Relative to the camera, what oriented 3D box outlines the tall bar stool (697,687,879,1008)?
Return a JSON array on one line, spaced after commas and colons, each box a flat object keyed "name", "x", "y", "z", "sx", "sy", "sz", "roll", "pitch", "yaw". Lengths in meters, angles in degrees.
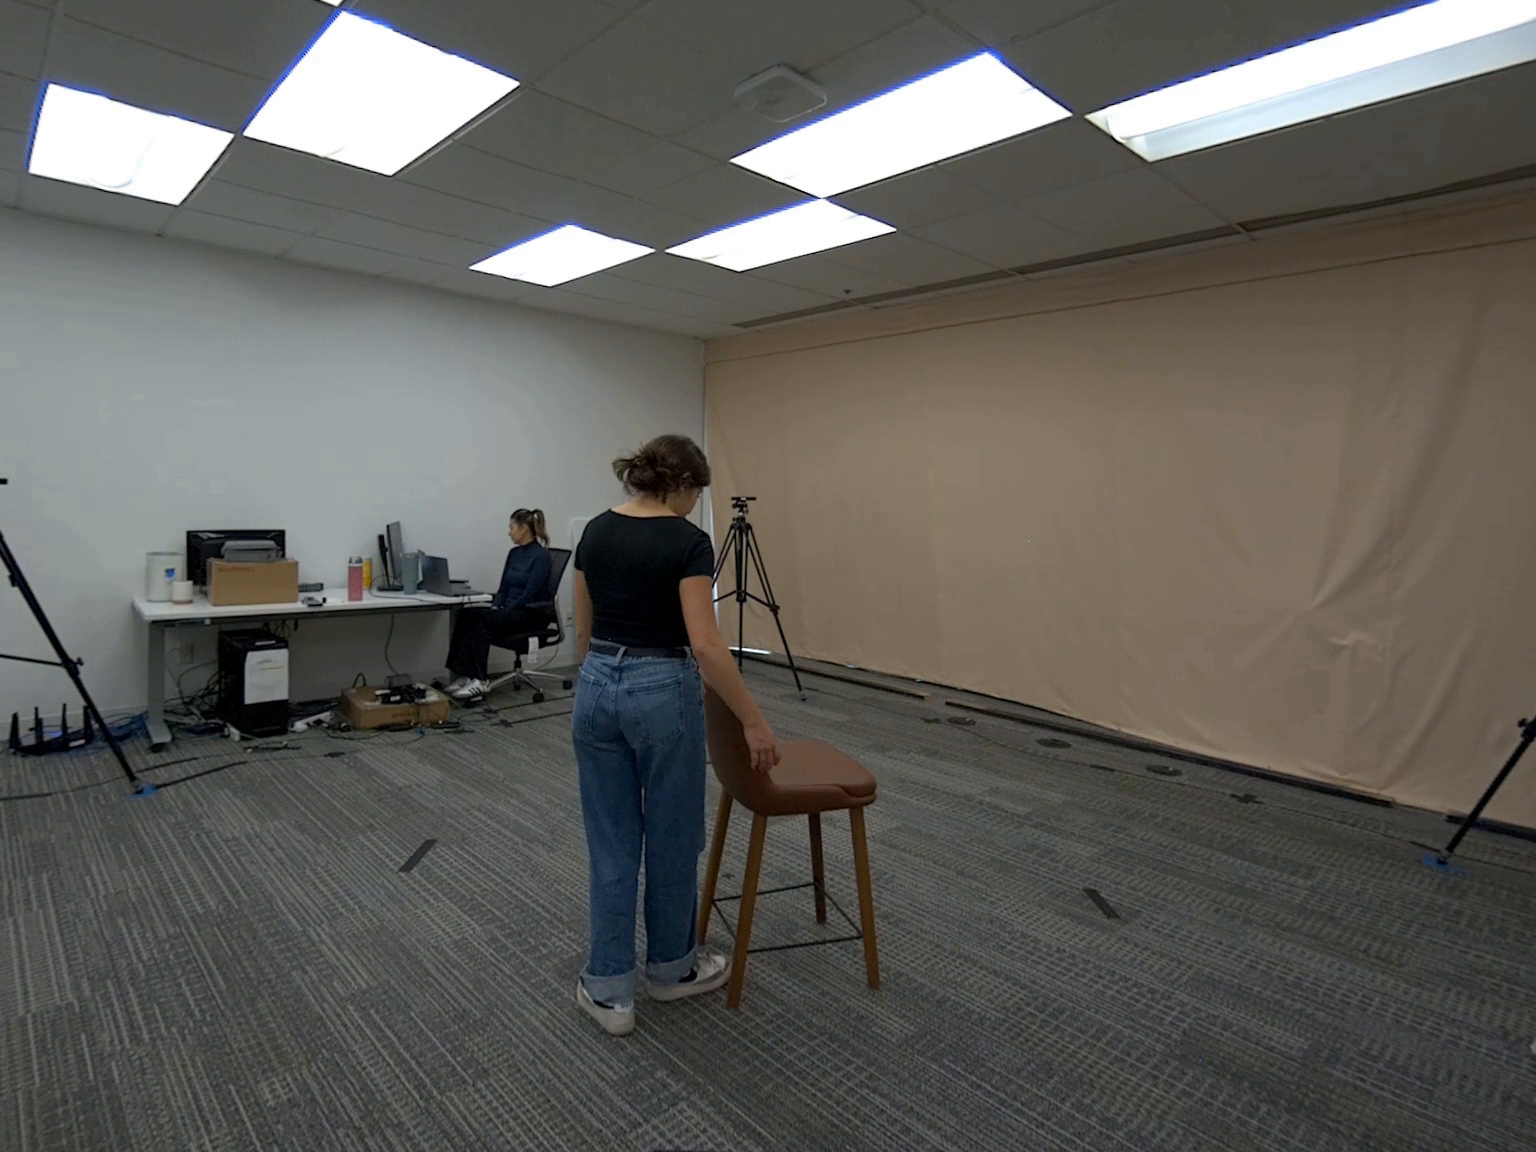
[{"name": "tall bar stool", "x": 0.039, "y": 0.730, "z": 2.507, "sx": 0.461, "sy": 0.887, "sz": 0.464, "roll": -2, "pitch": 4, "yaw": -19}]
